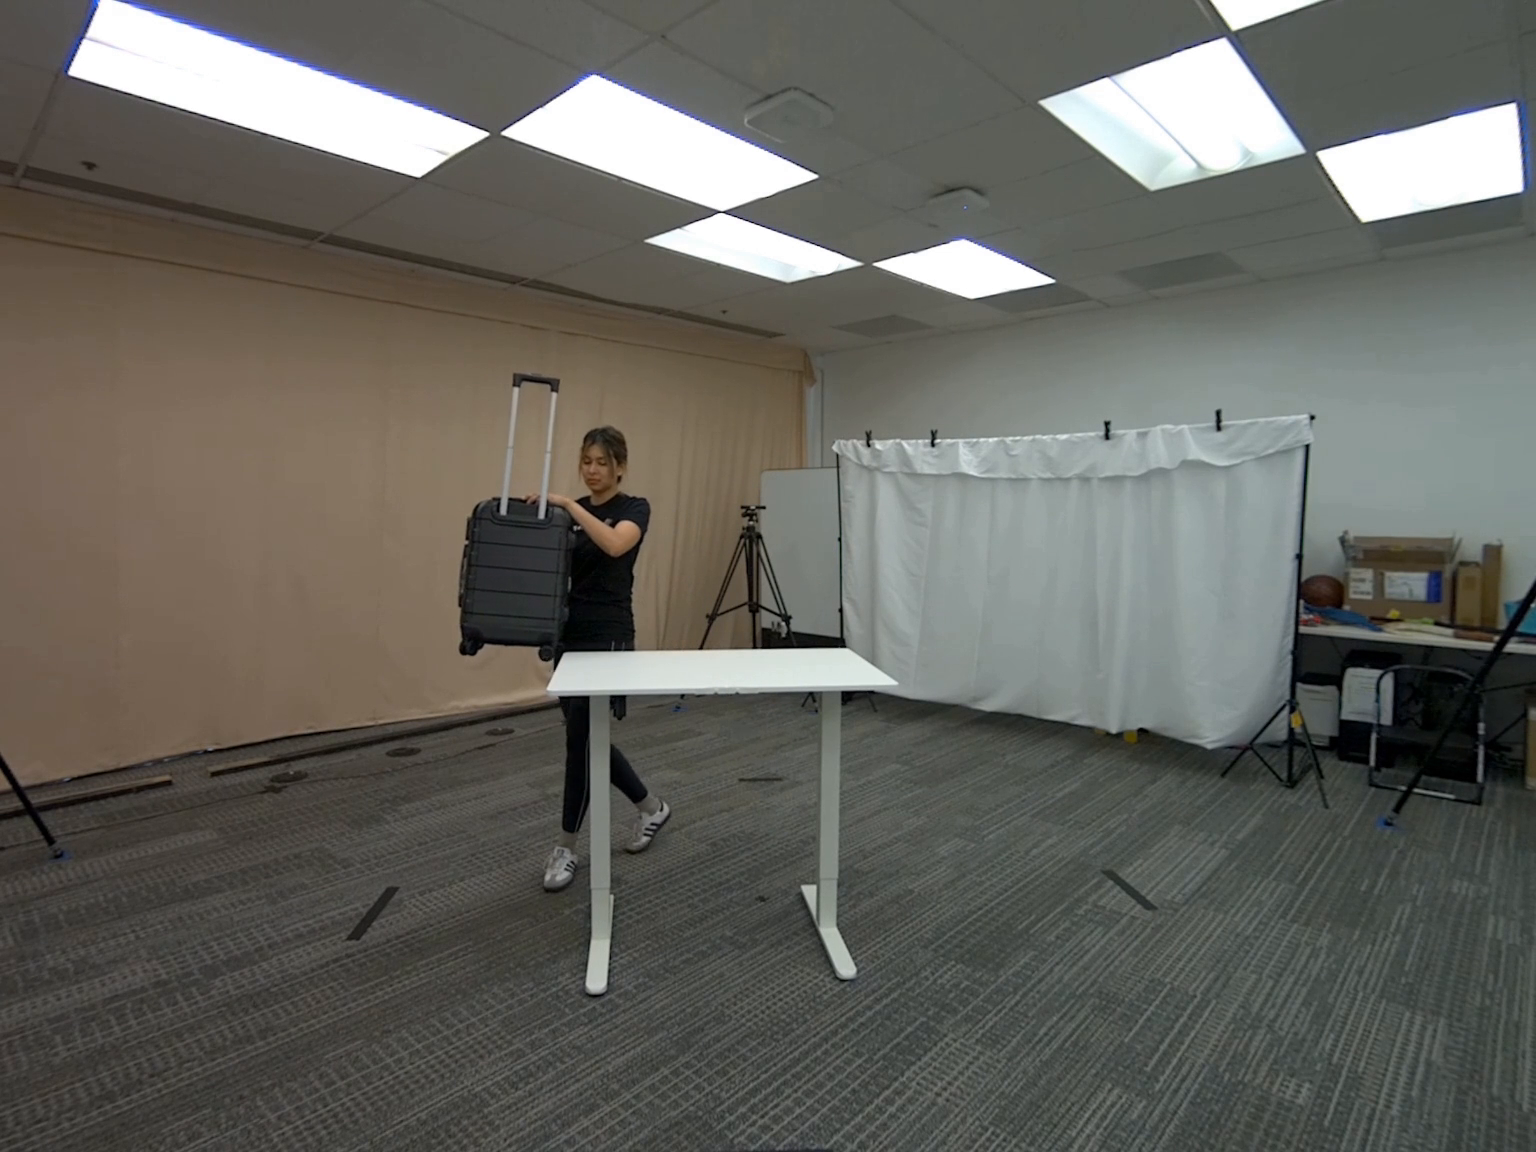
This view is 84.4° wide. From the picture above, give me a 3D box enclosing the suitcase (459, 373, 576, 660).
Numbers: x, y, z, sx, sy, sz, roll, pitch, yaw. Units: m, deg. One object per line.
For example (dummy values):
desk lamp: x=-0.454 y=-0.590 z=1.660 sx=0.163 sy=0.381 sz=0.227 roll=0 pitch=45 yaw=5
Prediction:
suitcase: x=-0.873 y=-0.207 z=2.991 sx=0.380 sy=0.981 sz=0.259 roll=5 pitch=-4 yaw=-10
